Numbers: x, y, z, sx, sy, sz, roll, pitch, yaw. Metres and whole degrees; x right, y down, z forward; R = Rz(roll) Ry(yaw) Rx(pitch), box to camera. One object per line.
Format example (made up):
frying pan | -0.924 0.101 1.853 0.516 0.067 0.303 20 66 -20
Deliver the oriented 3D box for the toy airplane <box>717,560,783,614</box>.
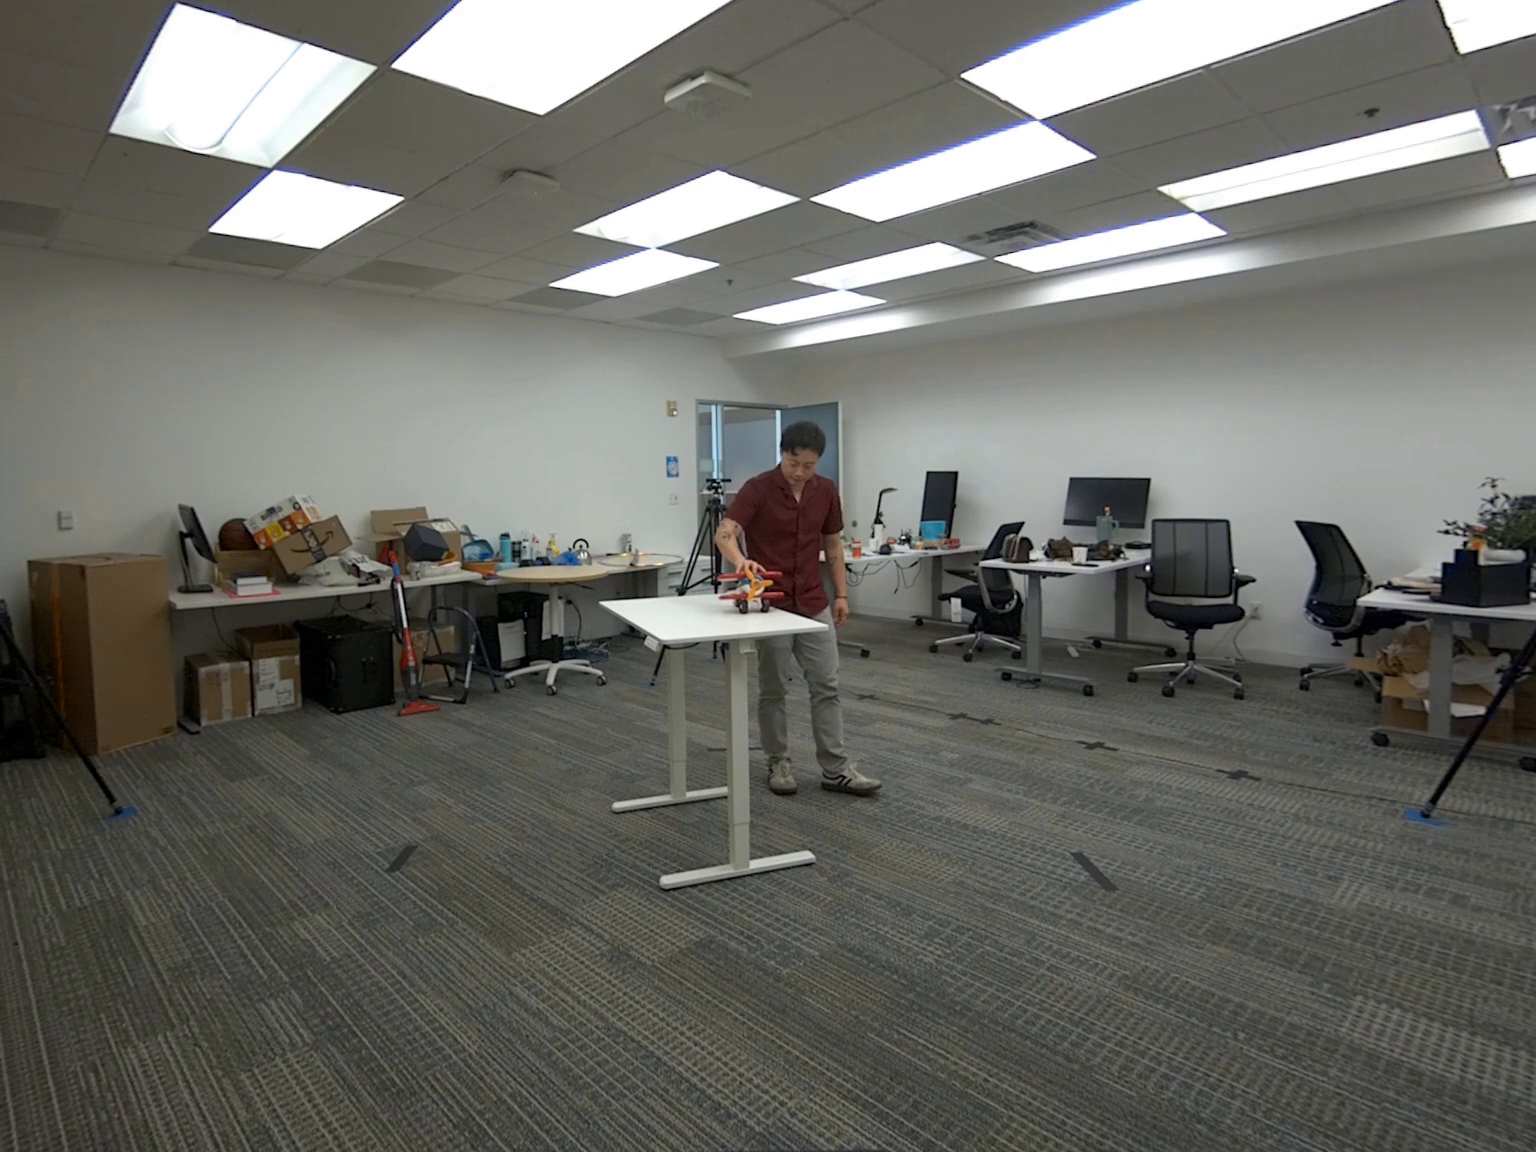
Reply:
toy airplane | -0.095 0.060 3.352 0.244 0.156 0.267 -4 7 -43
